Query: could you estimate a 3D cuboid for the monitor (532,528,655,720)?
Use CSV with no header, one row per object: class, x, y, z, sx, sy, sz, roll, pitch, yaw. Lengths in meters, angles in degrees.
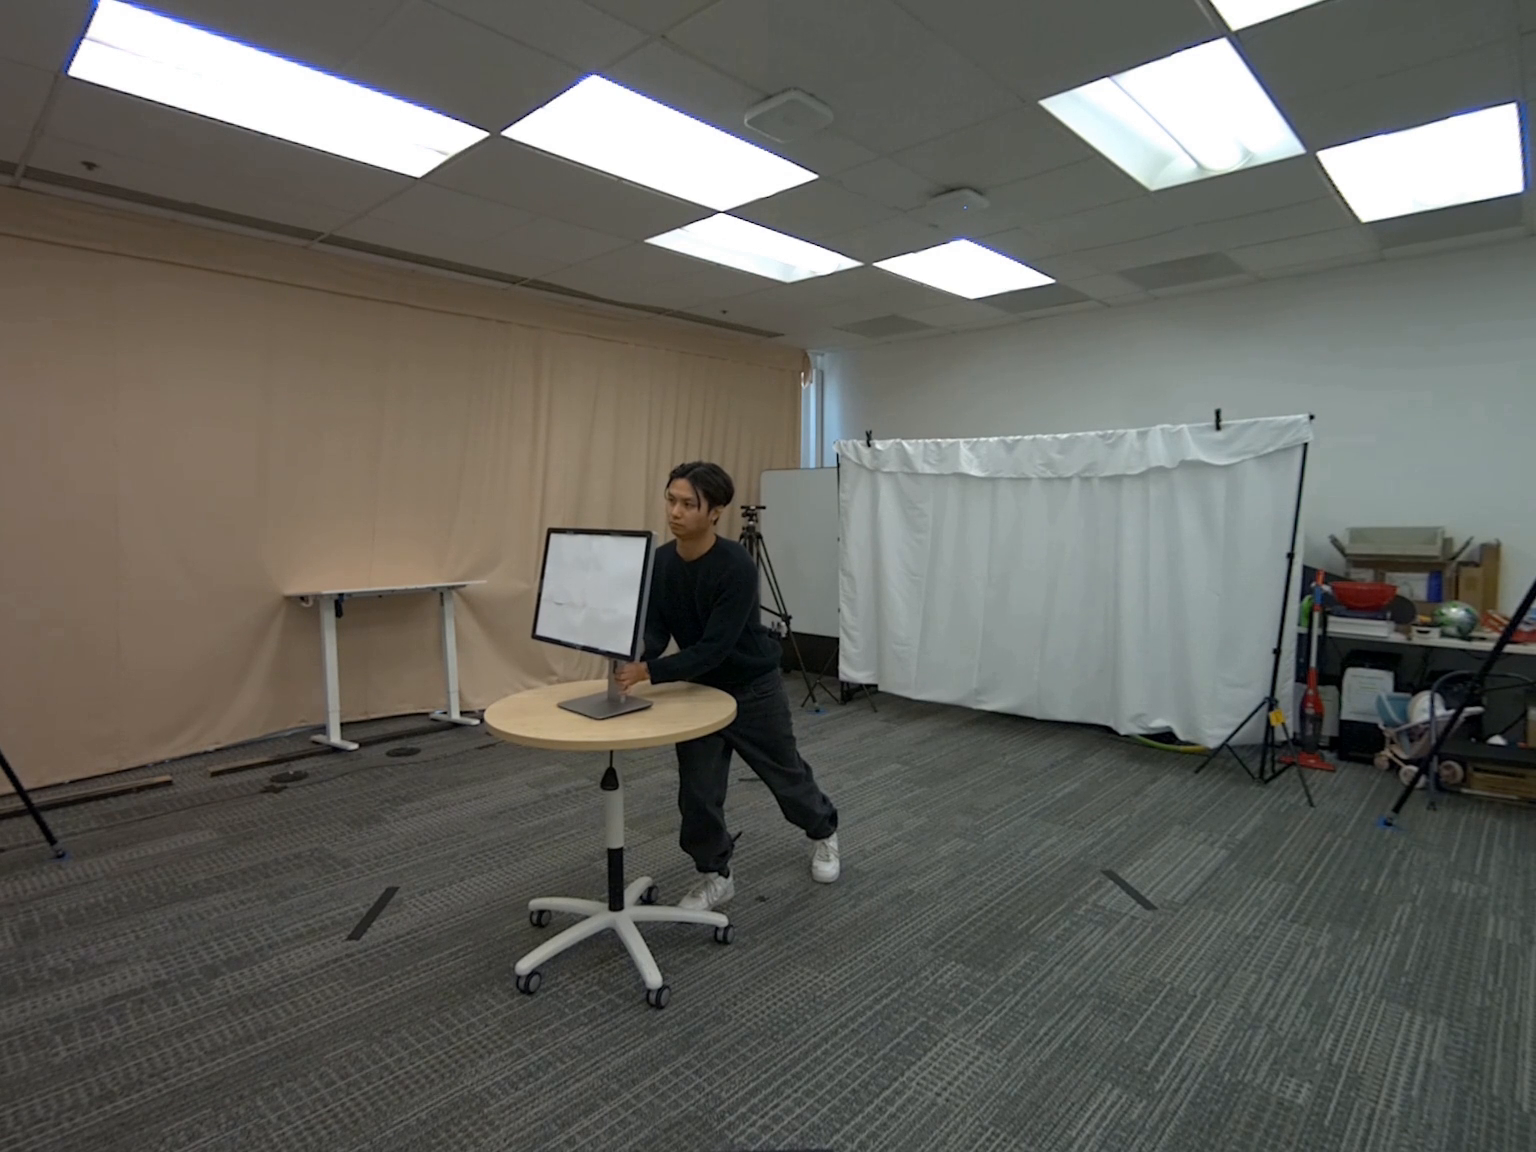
monitor,-0.508,0.129,2.545,0.170,0.513,0.548,-12,13,-44
